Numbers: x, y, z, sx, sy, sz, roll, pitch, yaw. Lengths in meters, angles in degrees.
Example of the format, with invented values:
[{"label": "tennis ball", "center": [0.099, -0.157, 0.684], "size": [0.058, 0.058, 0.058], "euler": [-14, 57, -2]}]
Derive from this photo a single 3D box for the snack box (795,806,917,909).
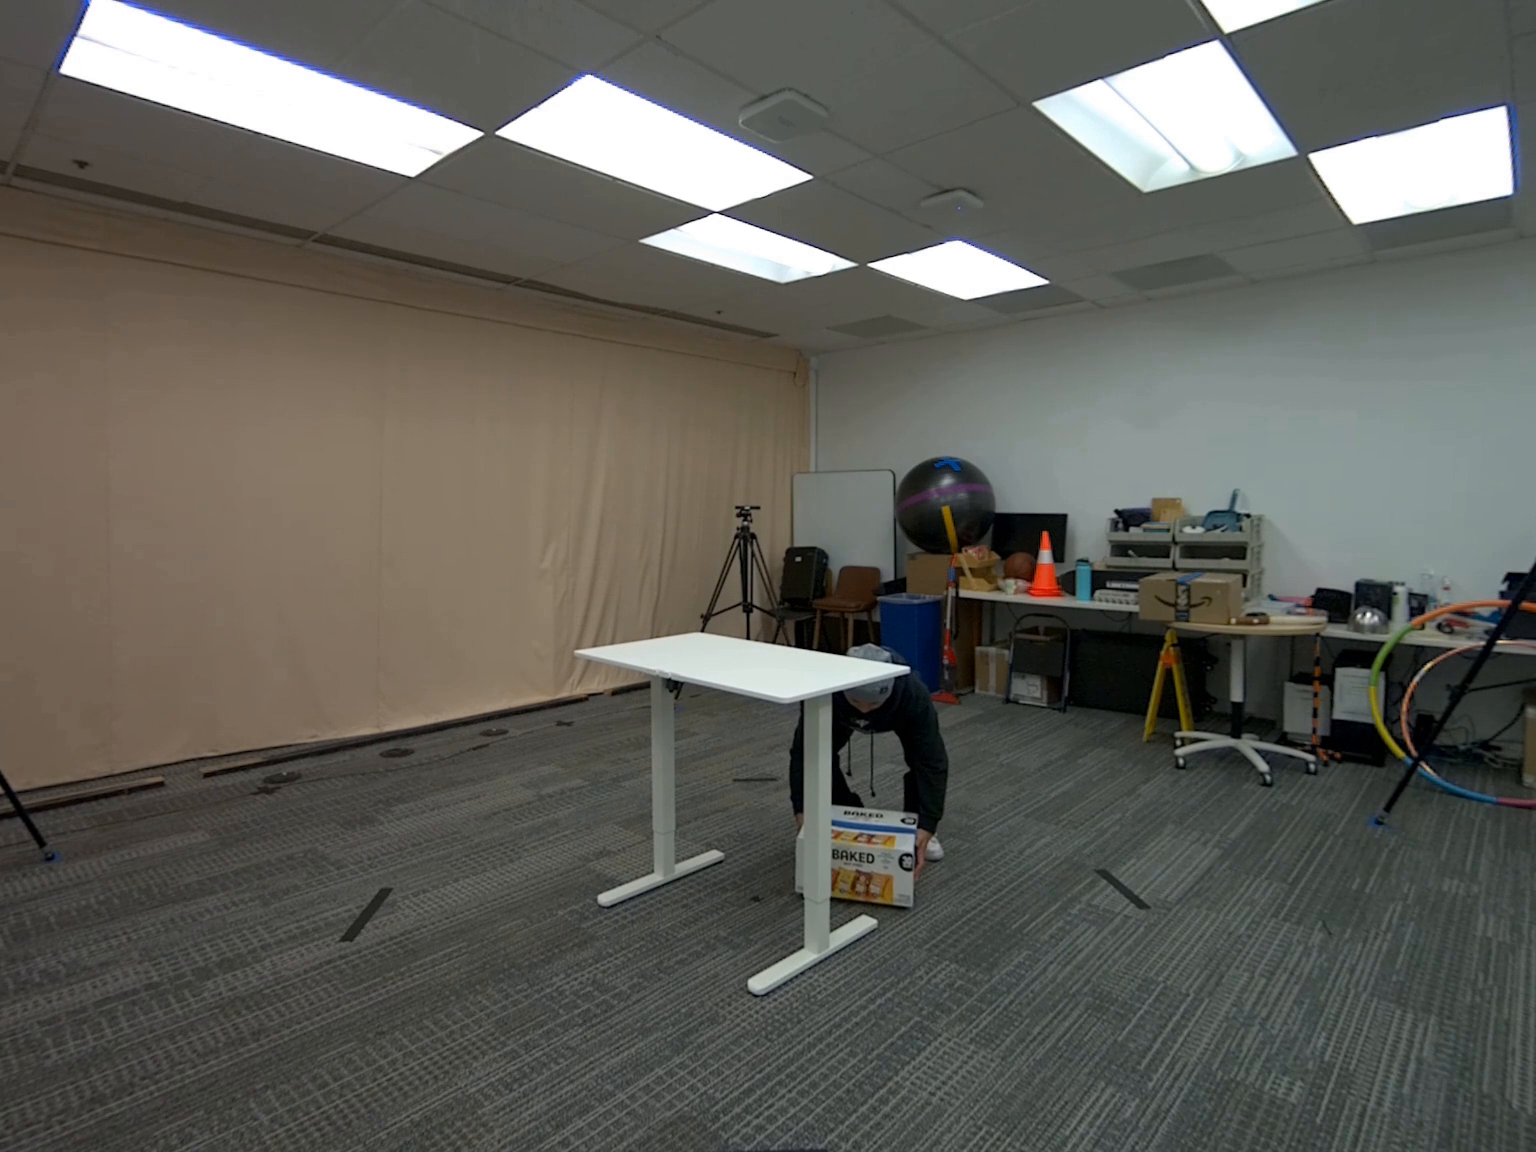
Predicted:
[{"label": "snack box", "center": [0.339, 1.010, 3.075], "size": [0.412, 0.205, 0.336], "euler": [1, 7, 14]}]
